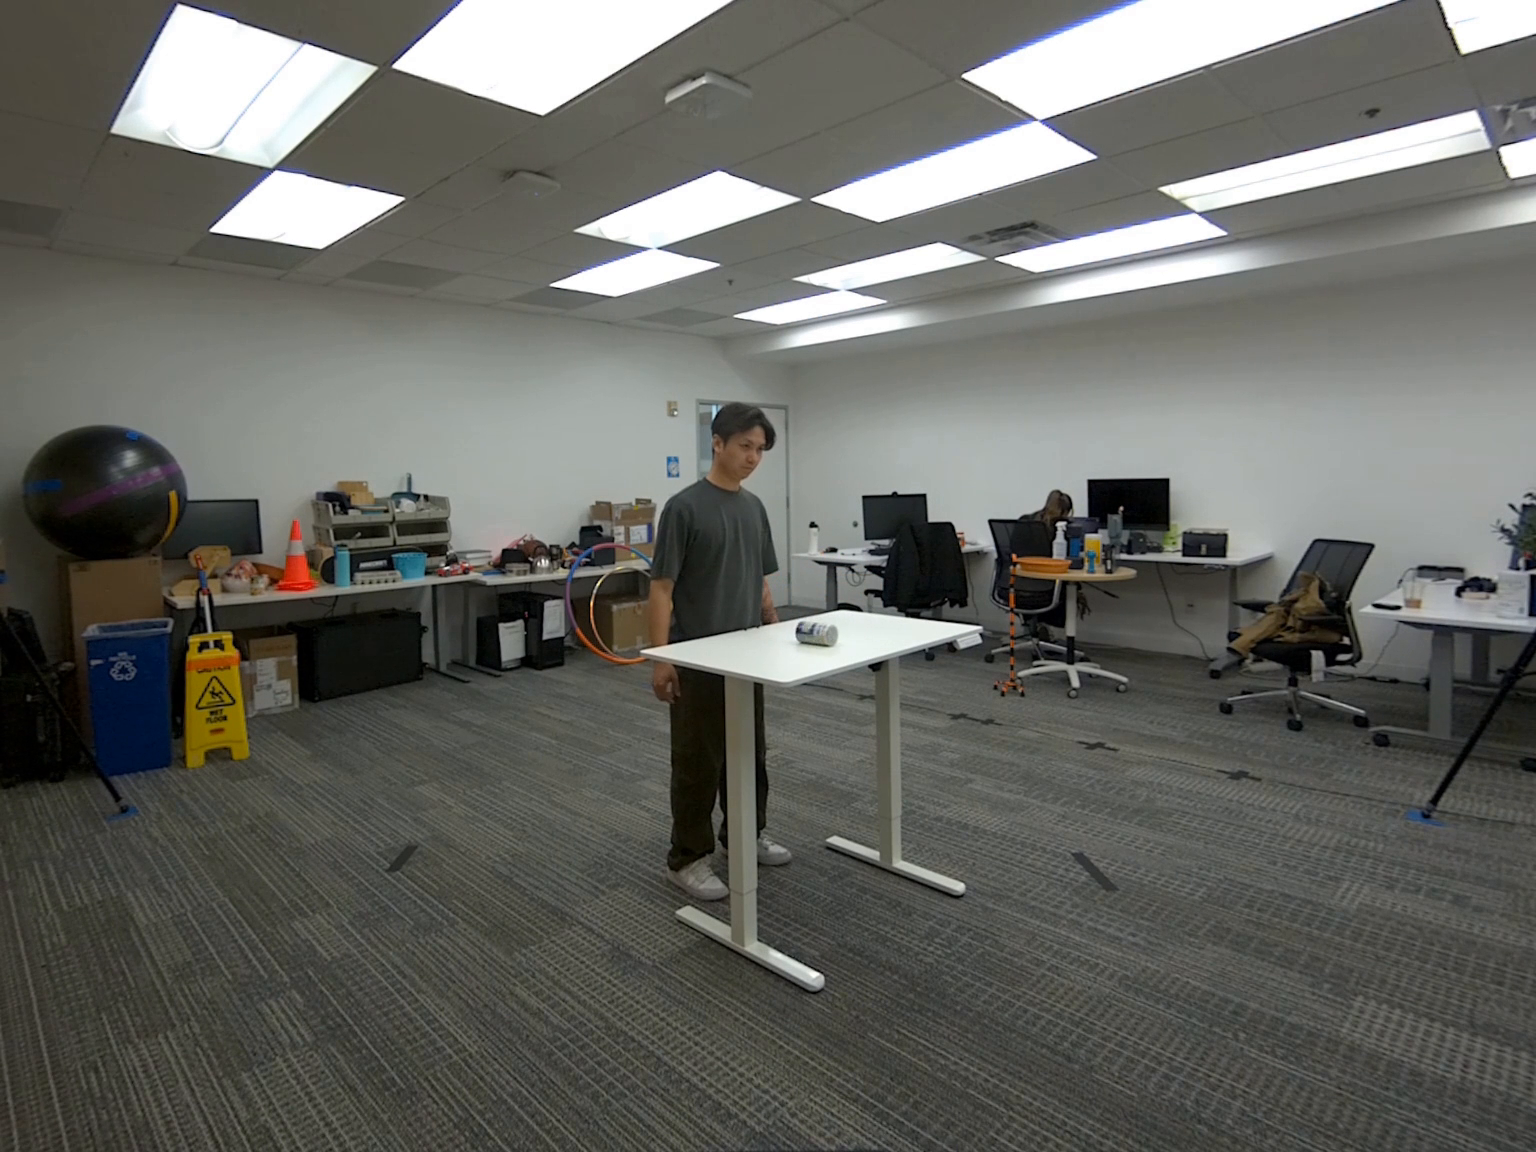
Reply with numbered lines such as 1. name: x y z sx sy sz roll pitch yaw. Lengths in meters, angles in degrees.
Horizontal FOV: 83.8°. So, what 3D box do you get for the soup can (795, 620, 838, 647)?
1. soup can: 0.173 0.179 2.645 0.125 0.067 0.065 2 6 31
